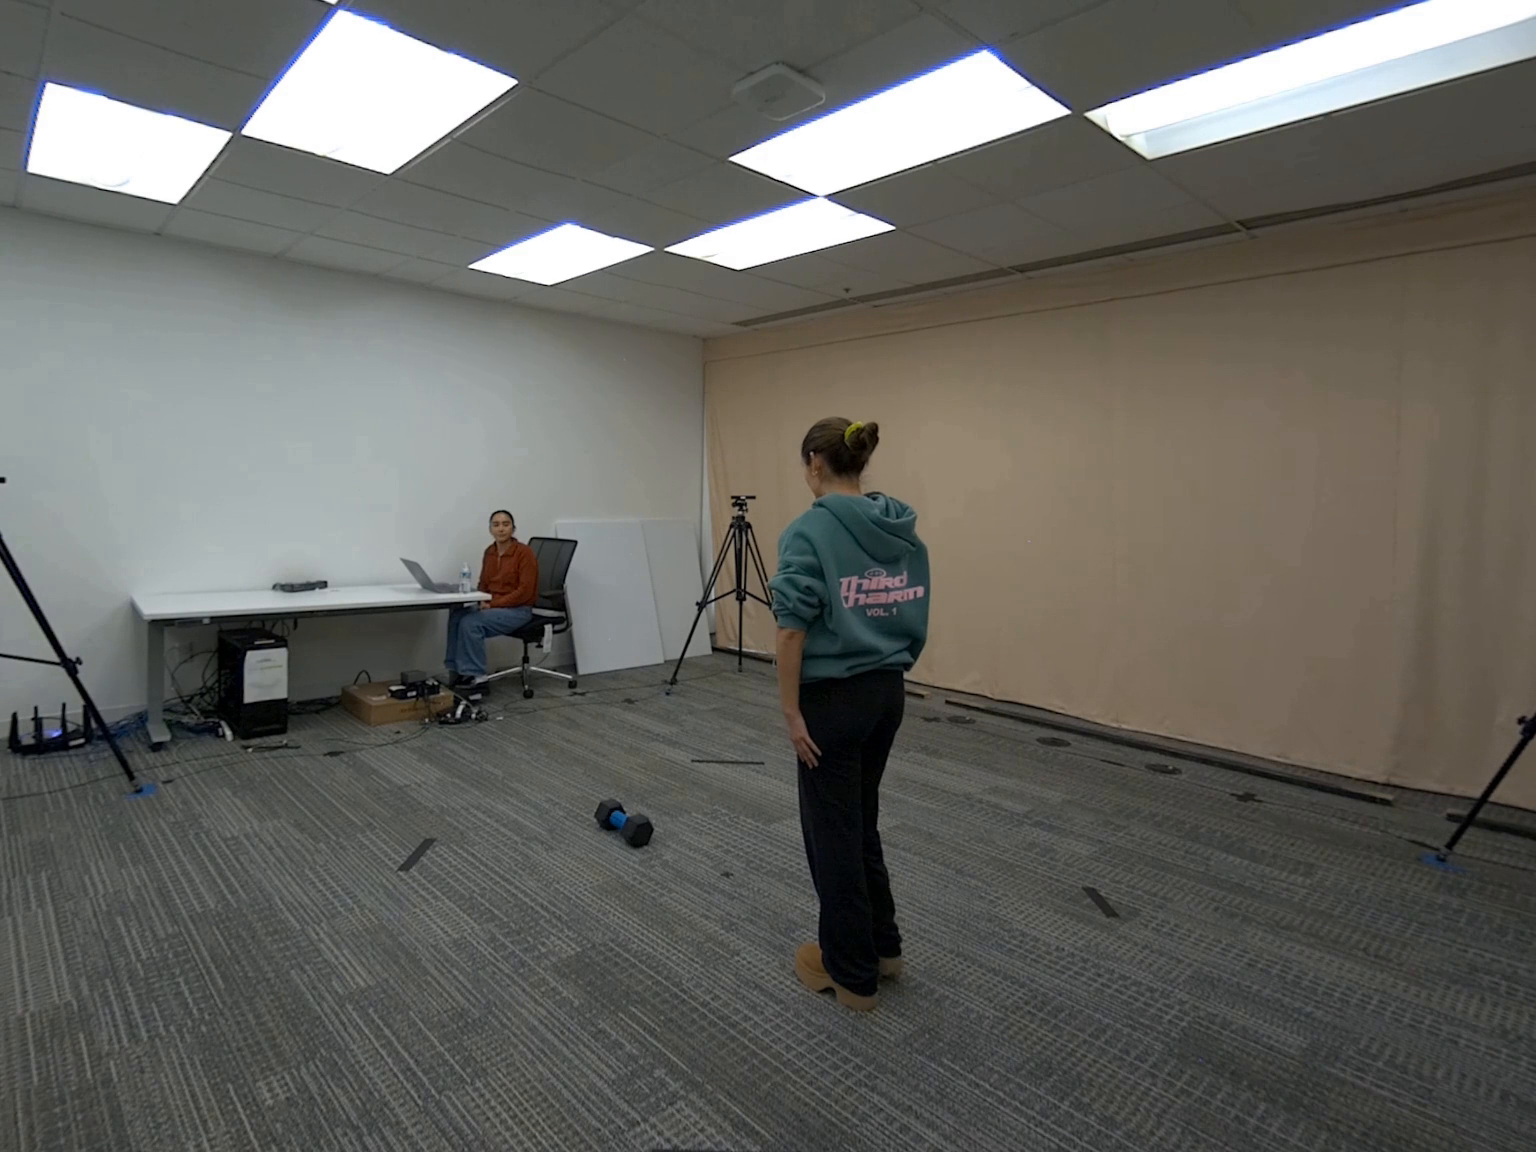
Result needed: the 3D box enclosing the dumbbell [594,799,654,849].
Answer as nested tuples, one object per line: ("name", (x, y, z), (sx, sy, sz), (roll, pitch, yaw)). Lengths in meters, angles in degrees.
("dumbbell", (-0.600, 1.008, 3.439), (0.108, 0.120, 0.301), (-36, 26, -32))
